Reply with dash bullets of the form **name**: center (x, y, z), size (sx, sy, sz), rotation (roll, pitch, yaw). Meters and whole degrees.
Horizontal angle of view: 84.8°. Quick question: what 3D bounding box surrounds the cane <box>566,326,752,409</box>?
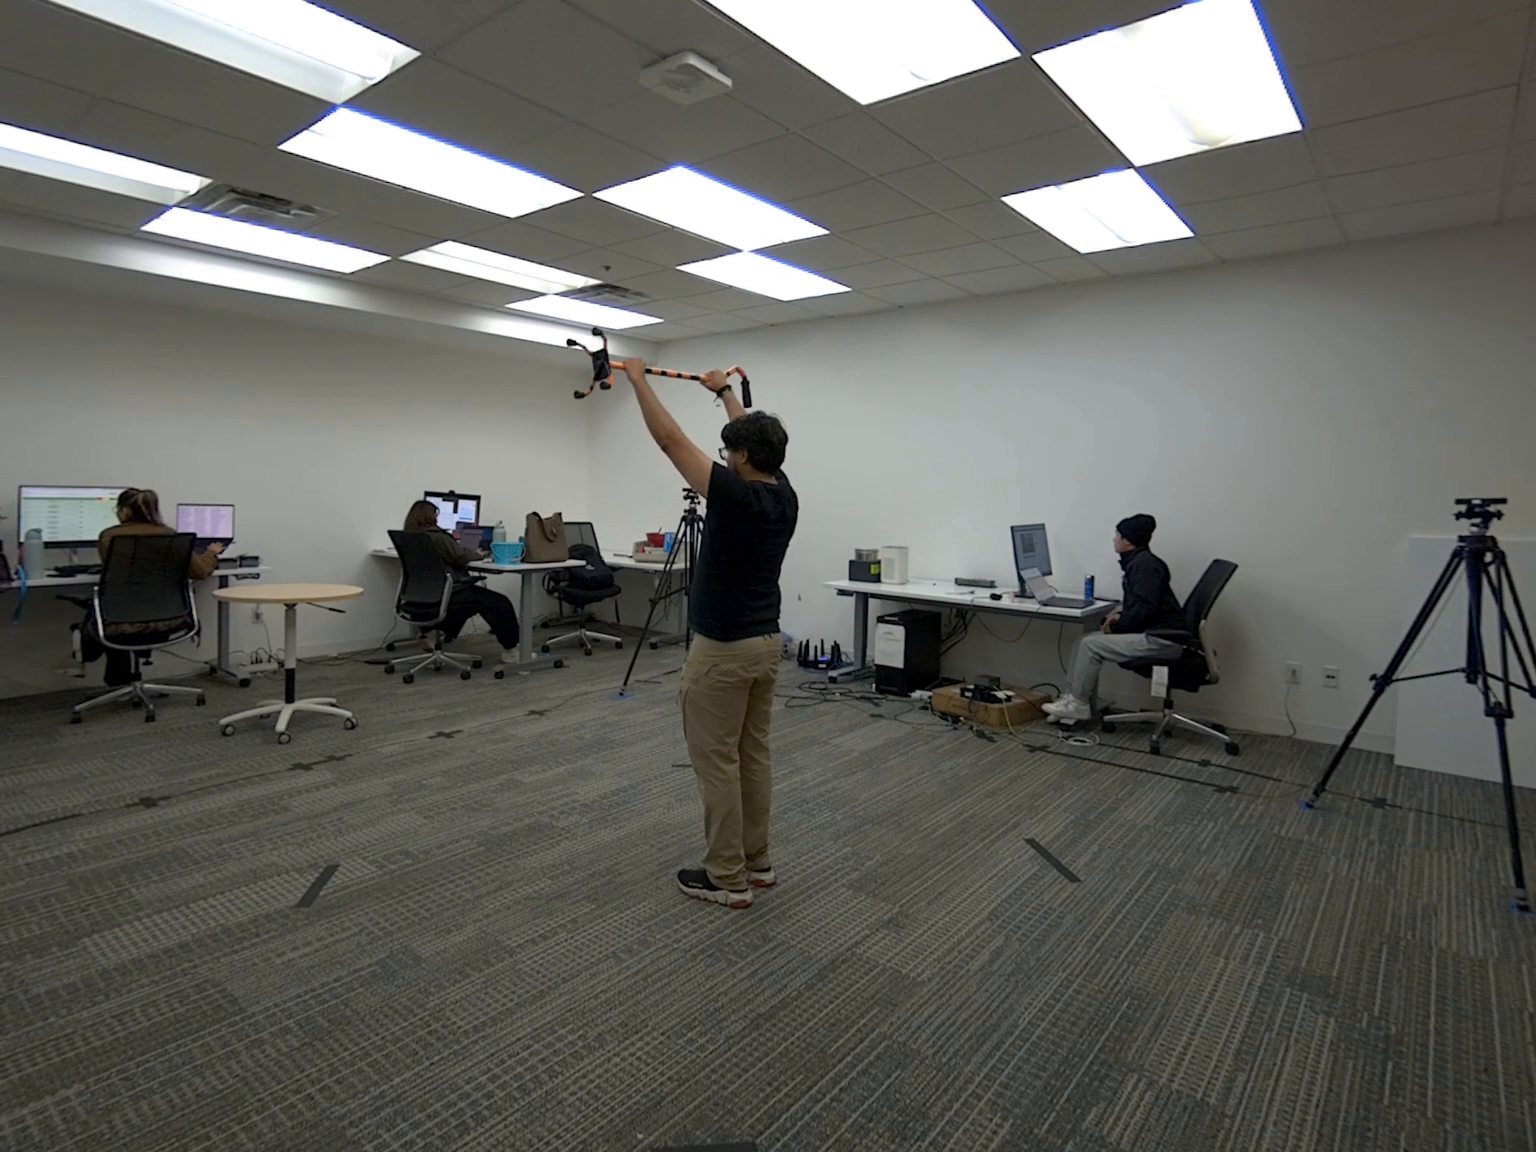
- **cane**: center (-0.353, -0.732, 3.127), size (0.155, 0.207, 0.884), rotation (-10, 0, 35)
